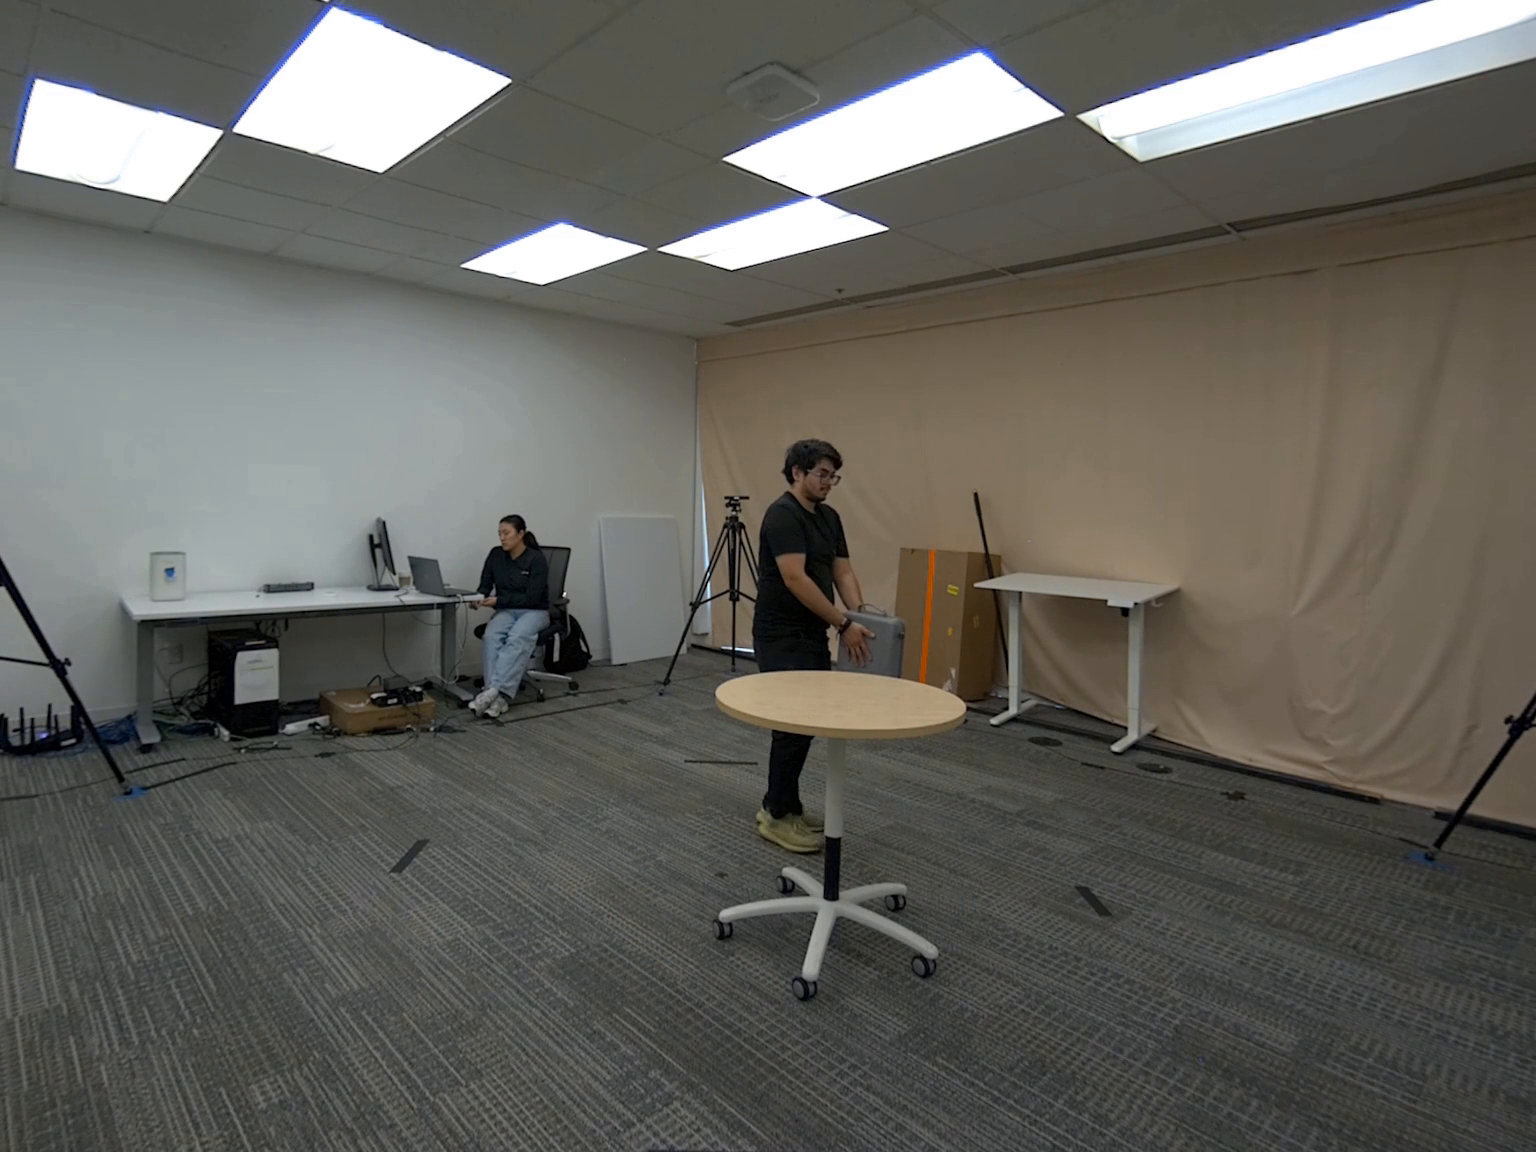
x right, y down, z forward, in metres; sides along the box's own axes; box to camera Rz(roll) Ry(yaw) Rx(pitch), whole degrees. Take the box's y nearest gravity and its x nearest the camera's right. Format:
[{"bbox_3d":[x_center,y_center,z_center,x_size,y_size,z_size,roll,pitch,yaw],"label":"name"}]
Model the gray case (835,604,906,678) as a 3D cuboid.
[{"bbox_3d":[0.397,0.271,3.289,0.263,0.260,0.102,7,6,38],"label":"gray case"}]
